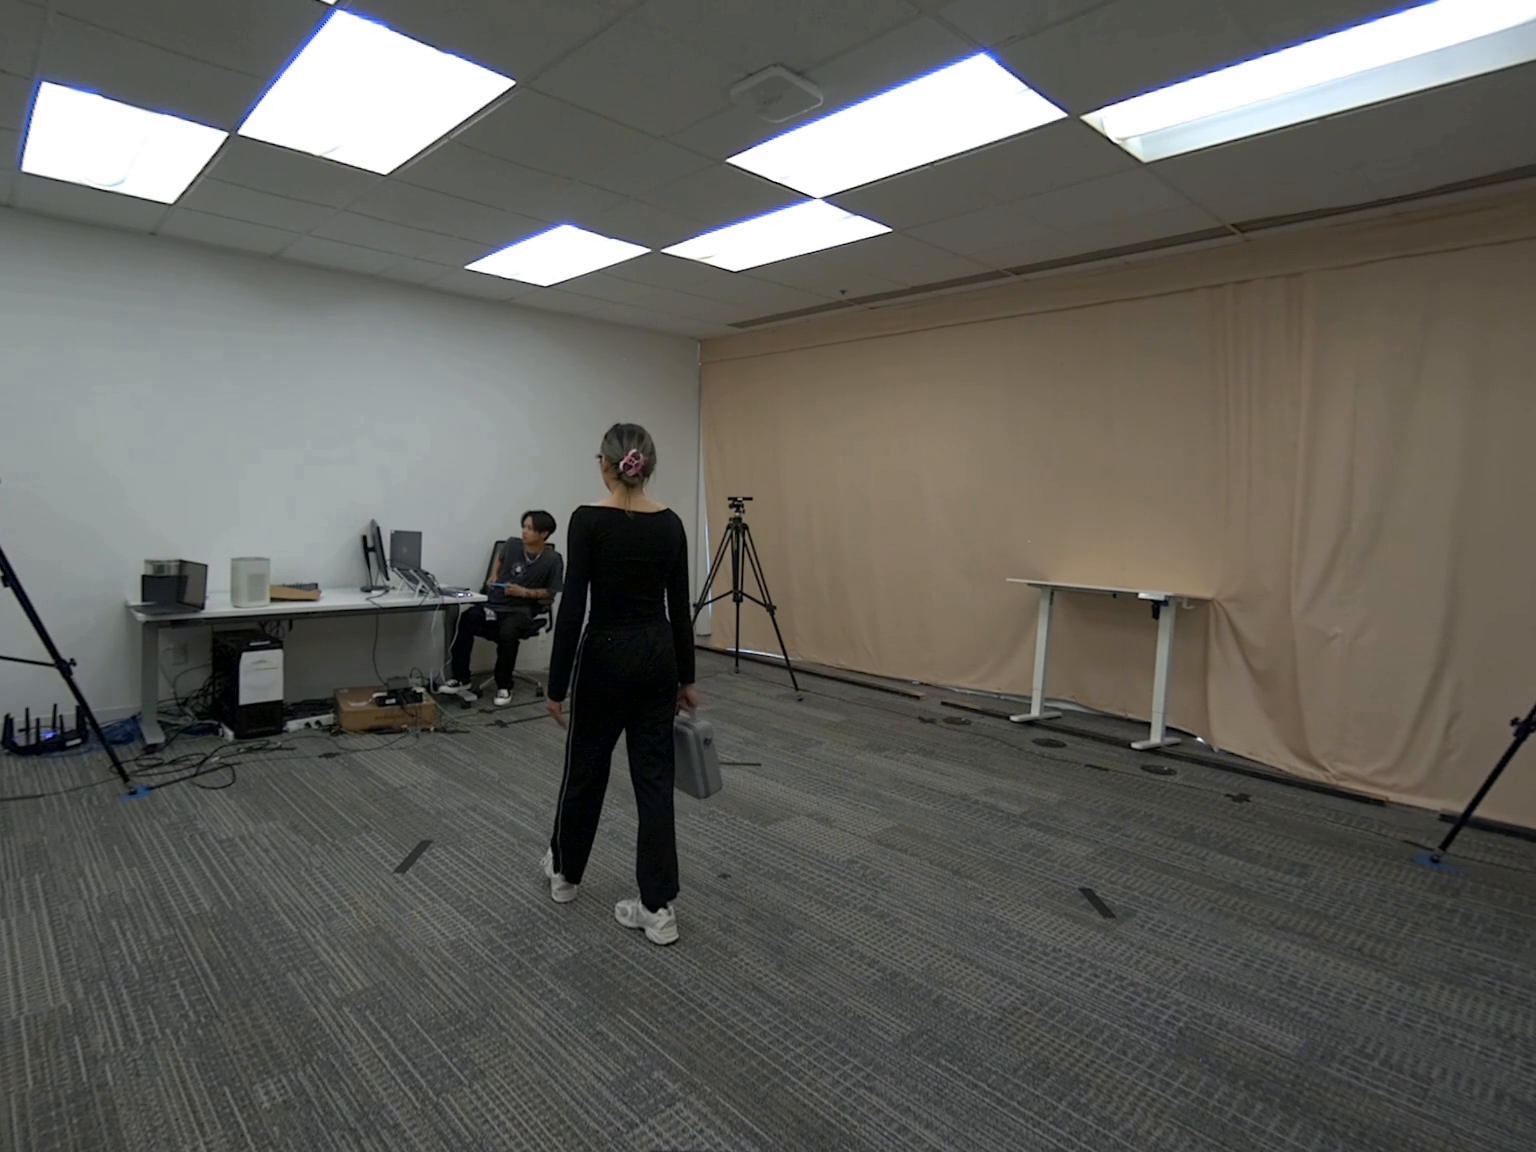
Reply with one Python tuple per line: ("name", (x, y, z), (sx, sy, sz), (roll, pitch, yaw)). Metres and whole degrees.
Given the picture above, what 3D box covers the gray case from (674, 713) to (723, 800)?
("gray case", (-0.290, 0.608, 2.893), (0.102, 0.259, 0.263), (-11, 8, -32))
